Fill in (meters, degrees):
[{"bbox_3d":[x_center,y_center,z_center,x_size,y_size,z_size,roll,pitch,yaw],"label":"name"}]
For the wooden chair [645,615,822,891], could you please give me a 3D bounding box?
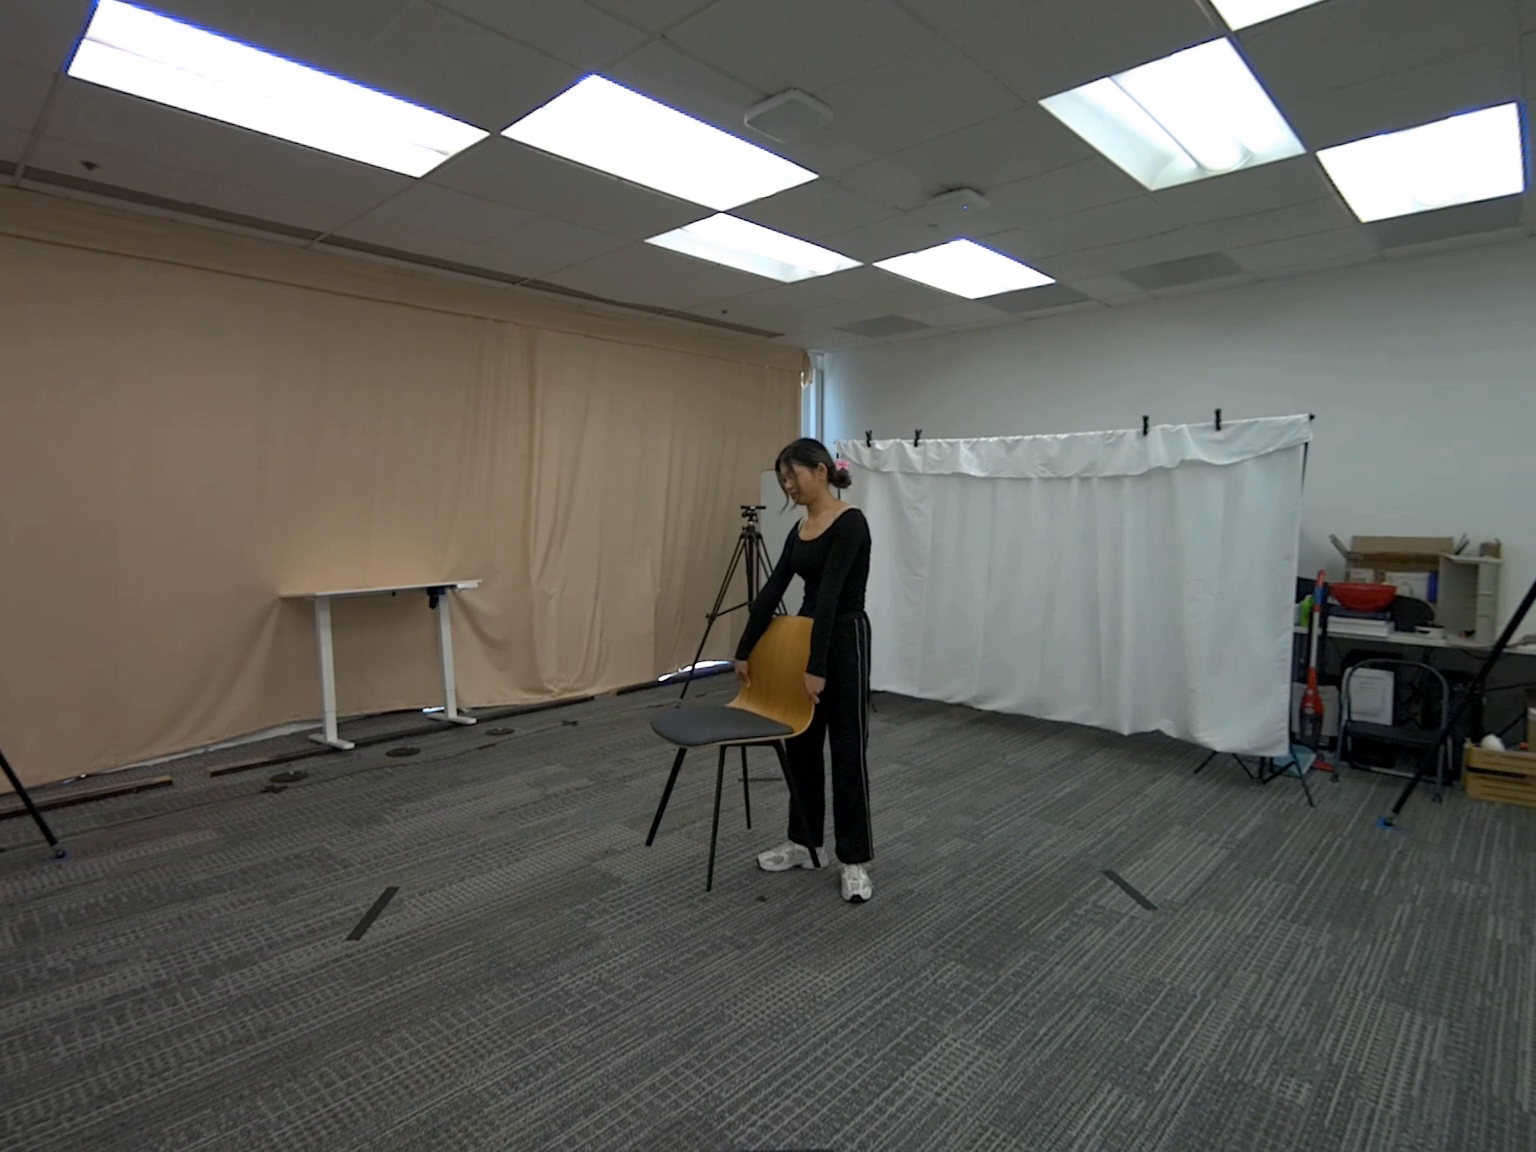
[{"bbox_3d":[-0.123,0.571,2.959,0.507,0.878,0.492,7,-1,-32],"label":"wooden chair"}]
